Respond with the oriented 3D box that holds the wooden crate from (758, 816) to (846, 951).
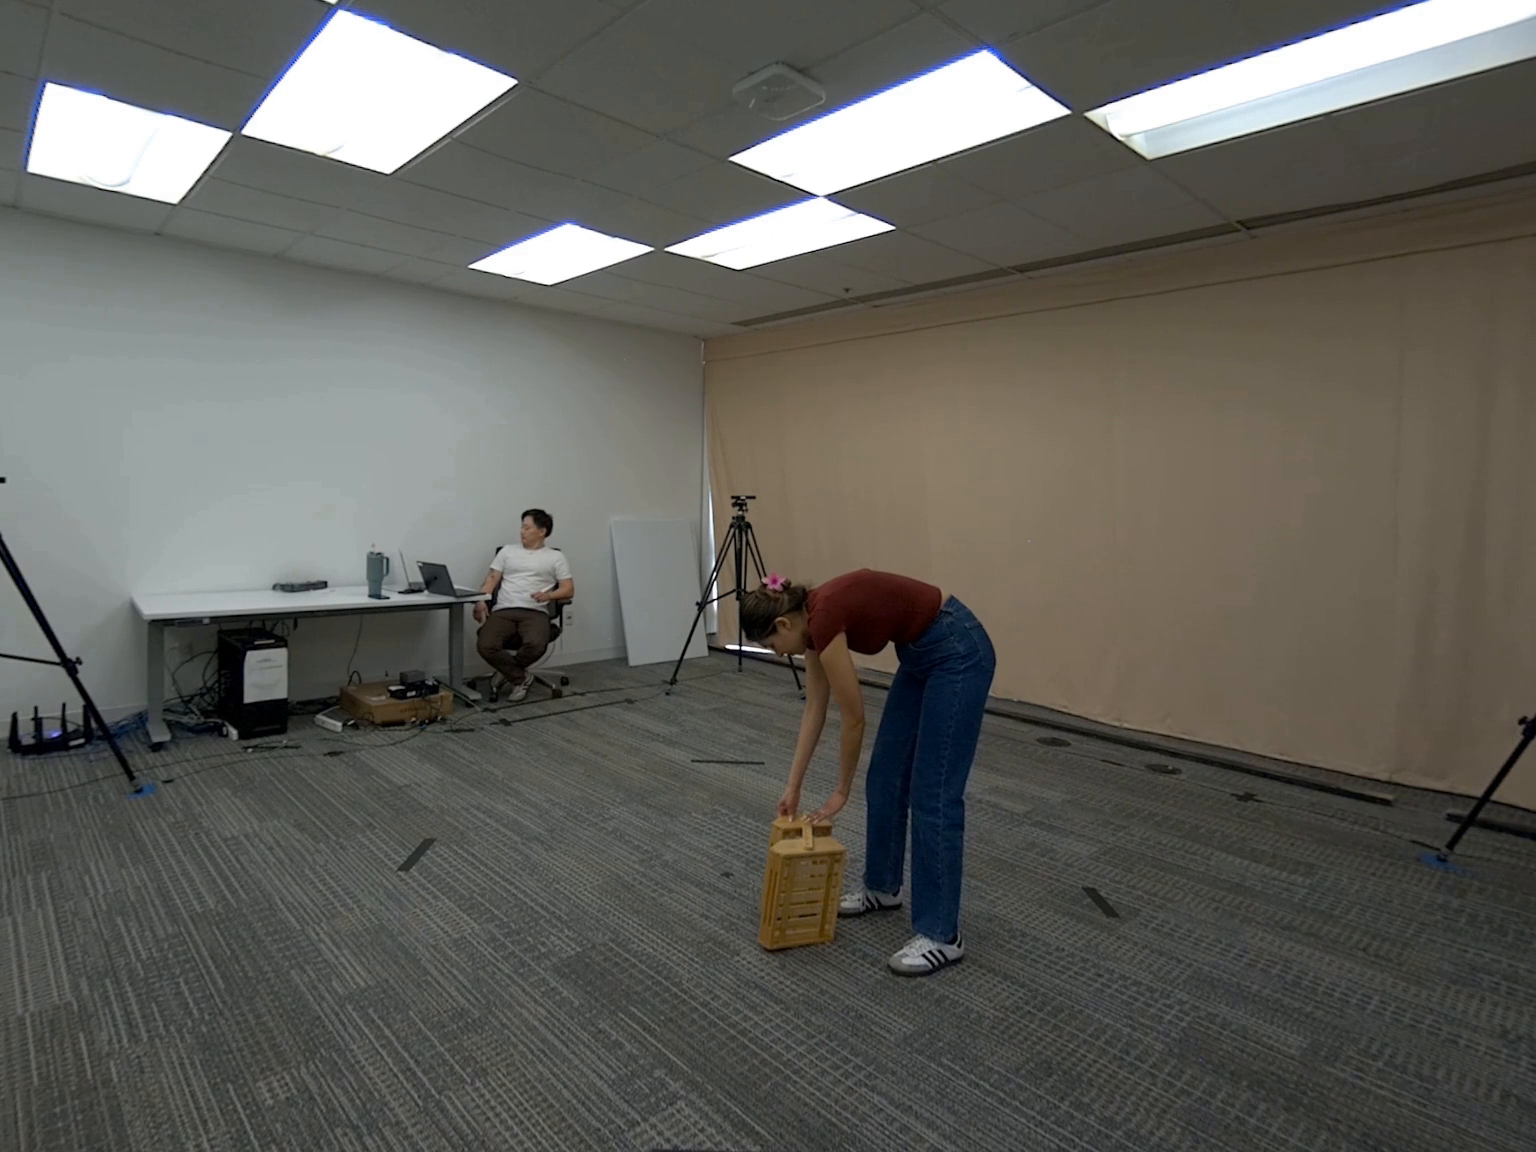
[{"bbox_3d":[0.074,0.971,2.725,0.296,0.323,0.279,4,5,-26],"label":"wooden crate"}]
